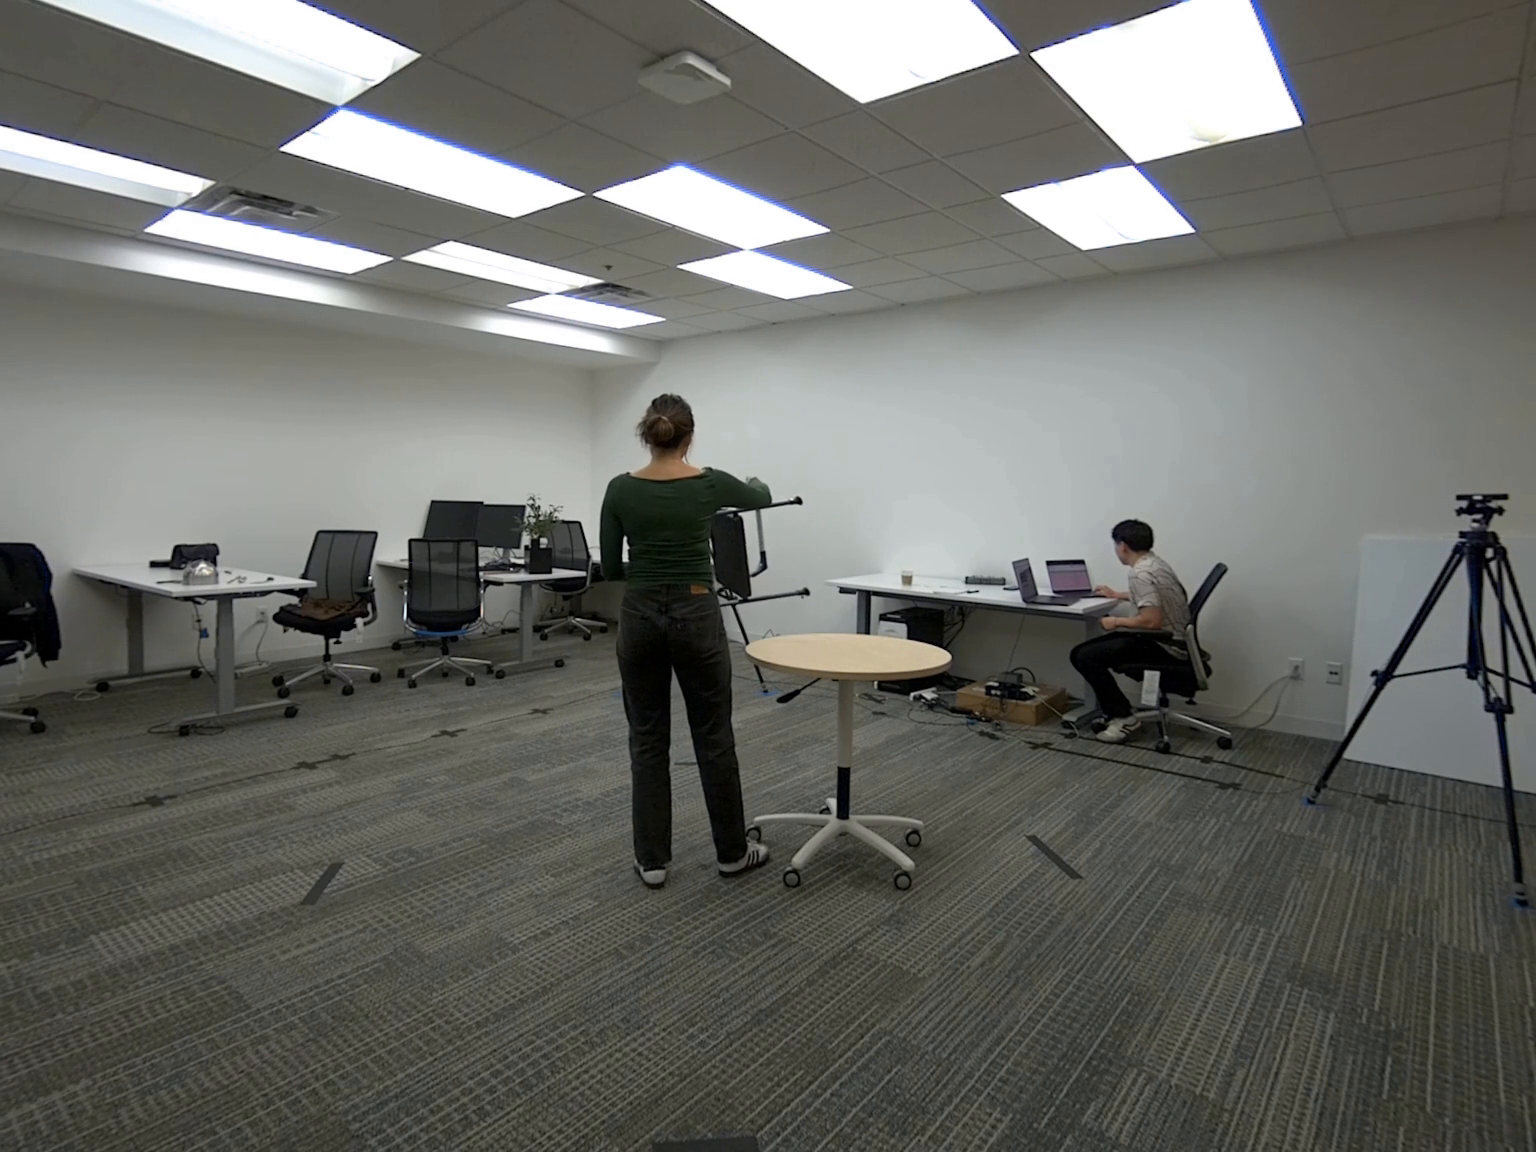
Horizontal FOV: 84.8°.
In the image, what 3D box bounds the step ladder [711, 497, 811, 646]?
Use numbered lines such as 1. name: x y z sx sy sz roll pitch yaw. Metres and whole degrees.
1. step ladder: -0.200 -0.079 3.410 0.596 0.421 0.363 -18 25 -26
